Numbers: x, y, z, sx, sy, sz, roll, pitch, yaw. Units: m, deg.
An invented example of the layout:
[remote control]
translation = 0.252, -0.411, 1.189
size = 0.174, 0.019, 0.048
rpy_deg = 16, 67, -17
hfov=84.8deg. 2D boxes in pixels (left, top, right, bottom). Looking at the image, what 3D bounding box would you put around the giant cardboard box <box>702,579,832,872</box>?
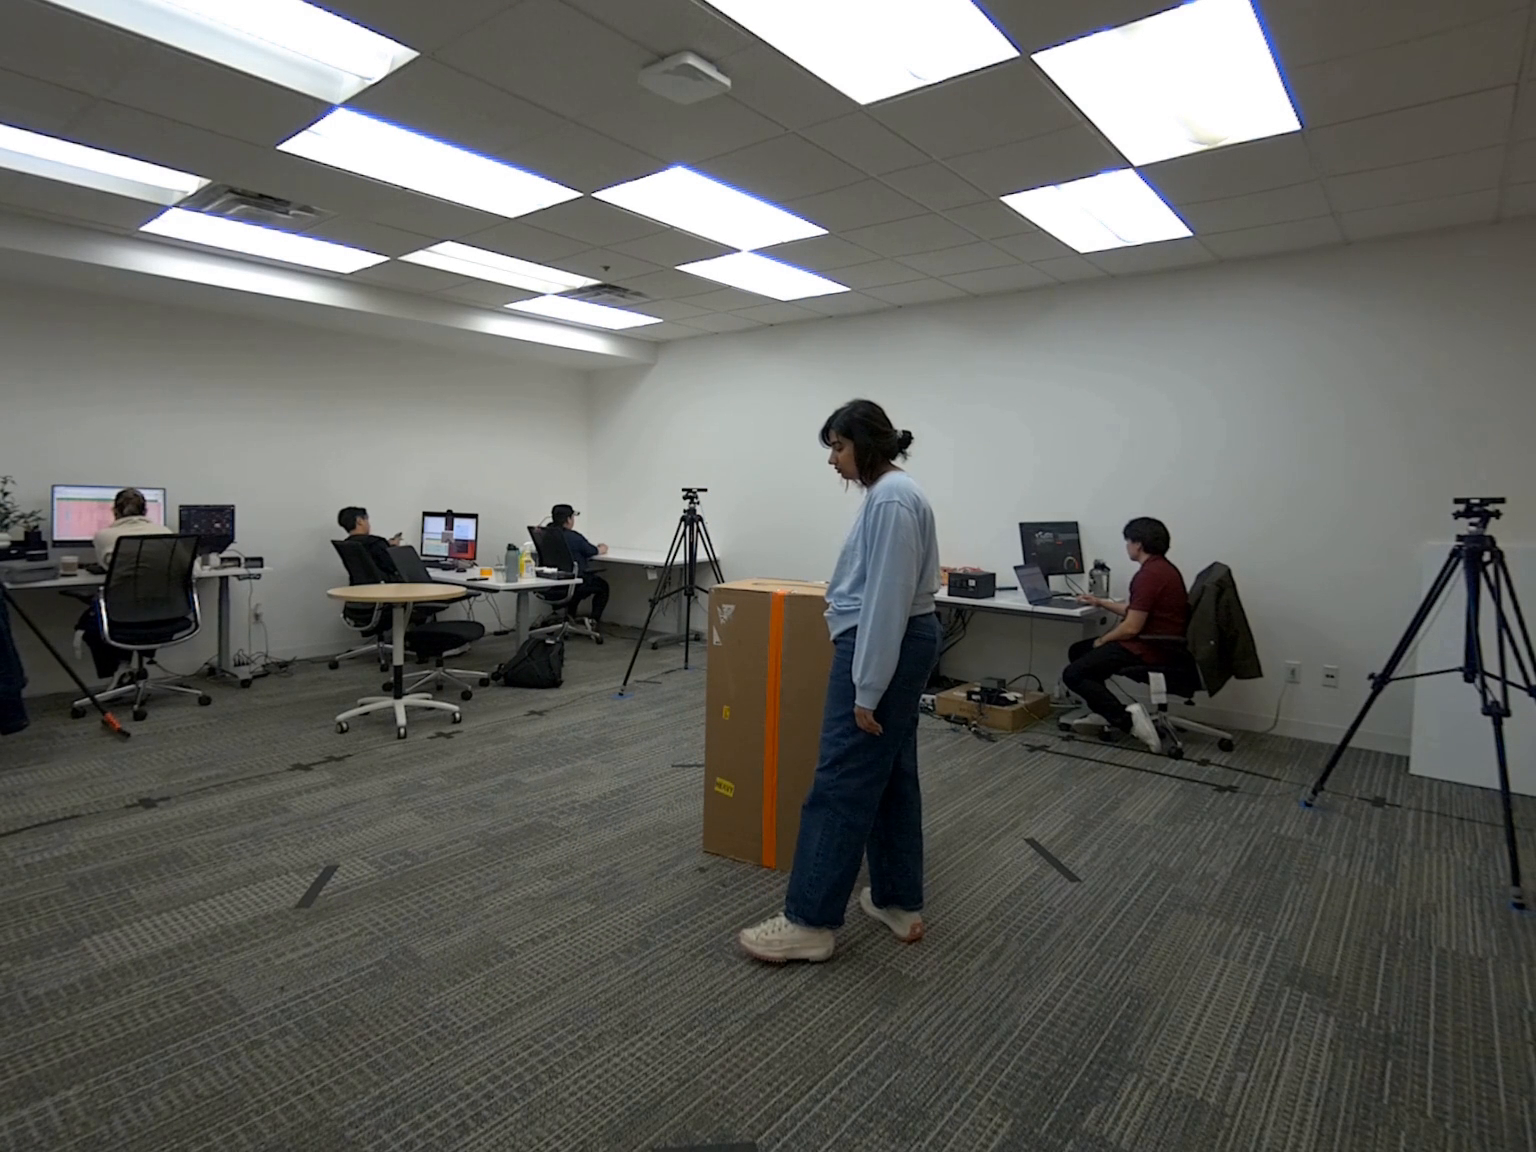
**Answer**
[giant cardboard box]
translation = 0.094, 0.551, 3.296
size = 0.593, 1.023, 0.416
rpy_deg = 3, 3, 25
